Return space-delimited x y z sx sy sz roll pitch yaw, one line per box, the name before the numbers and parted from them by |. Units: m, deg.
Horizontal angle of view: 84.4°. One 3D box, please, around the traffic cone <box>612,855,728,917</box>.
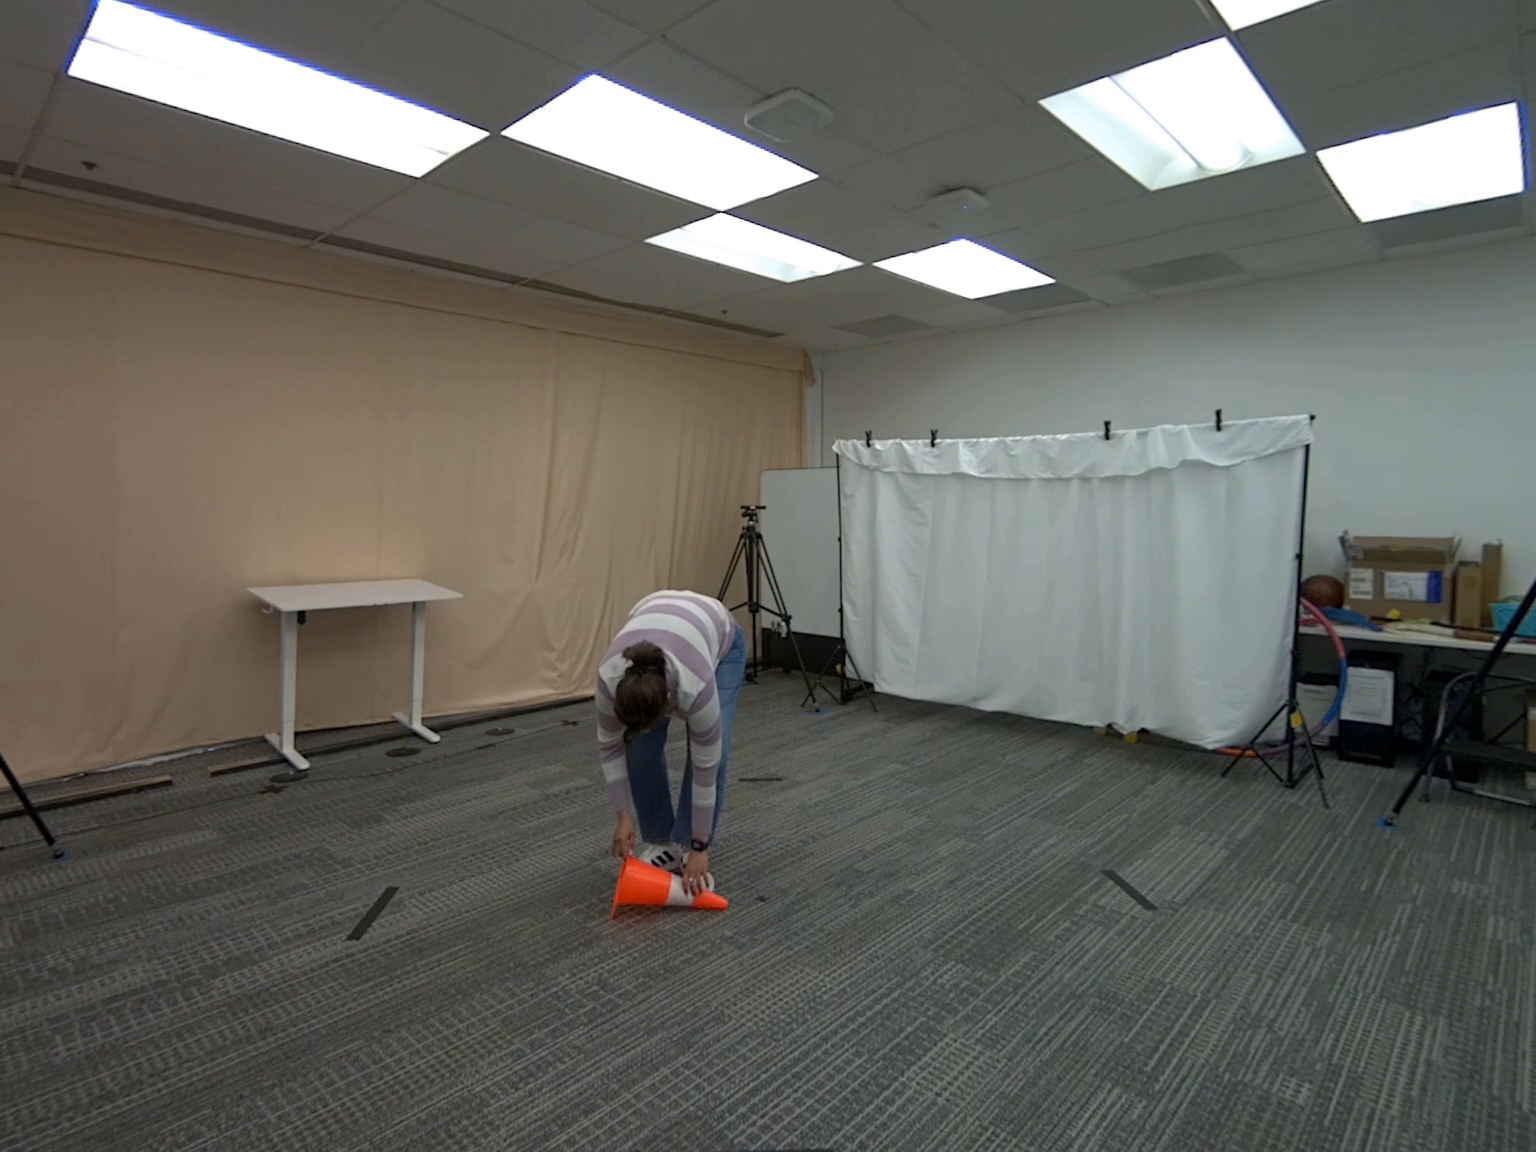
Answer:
traffic cone | -0.328 1.093 2.884 0.384 0.202 0.206 19 25 -1
